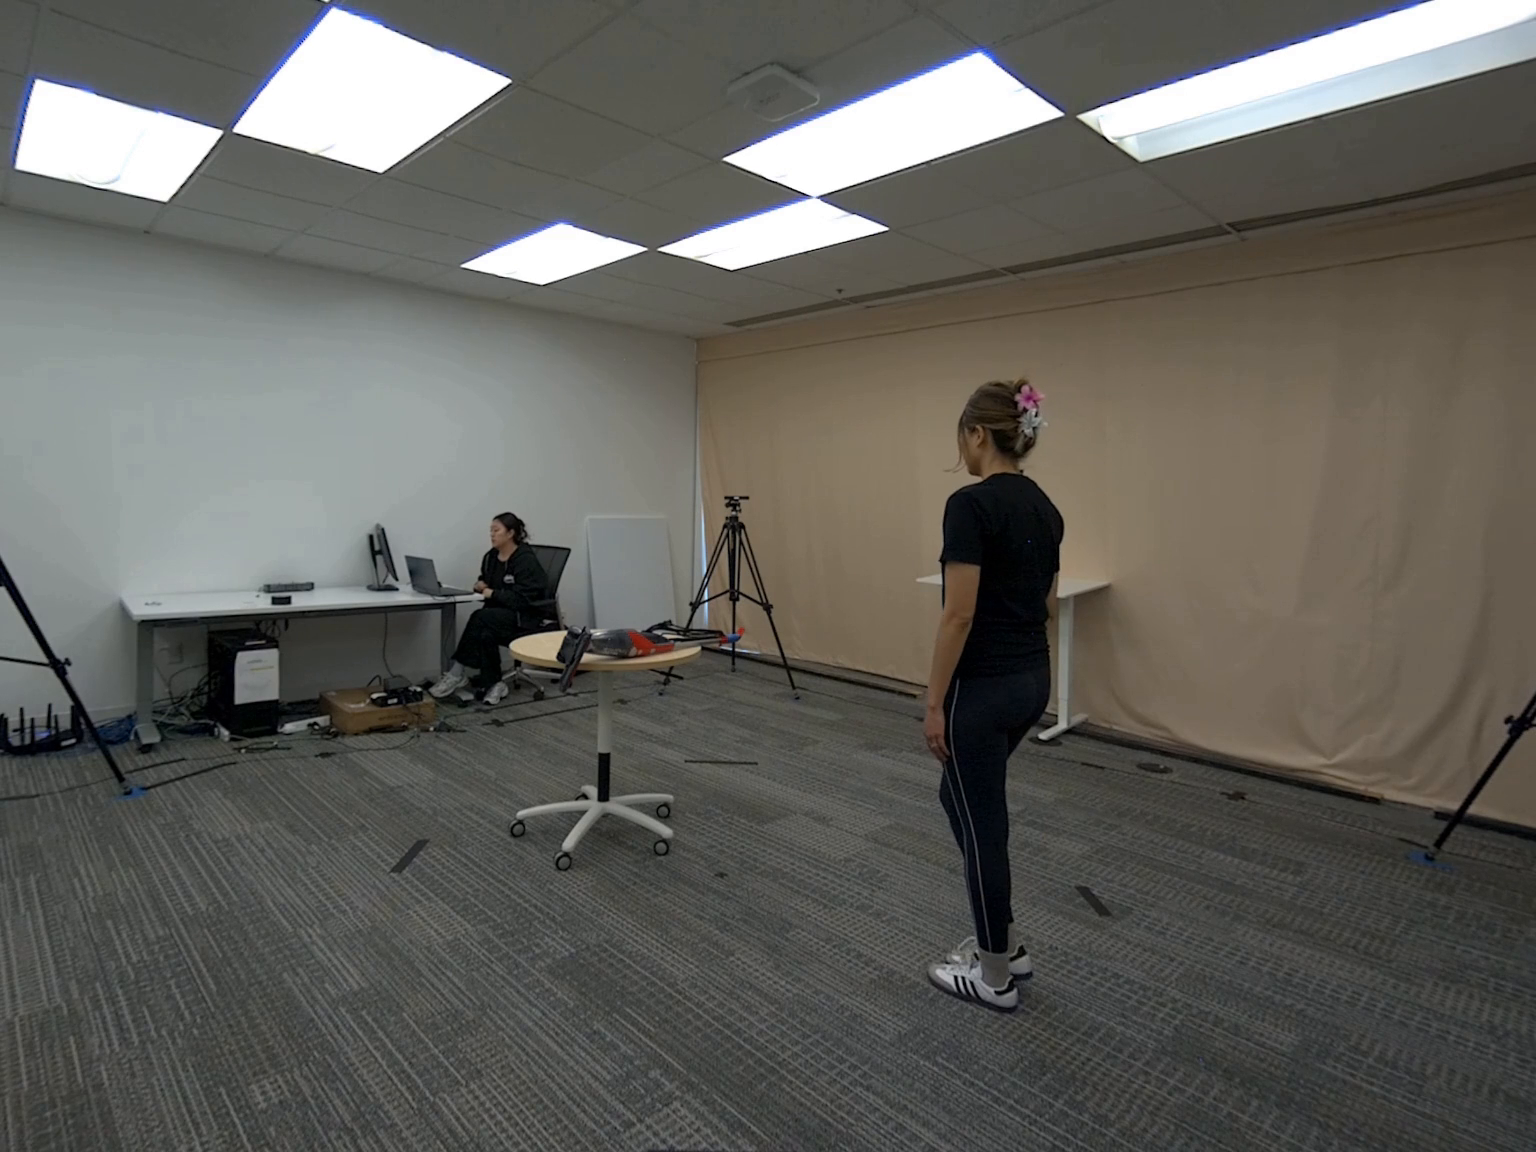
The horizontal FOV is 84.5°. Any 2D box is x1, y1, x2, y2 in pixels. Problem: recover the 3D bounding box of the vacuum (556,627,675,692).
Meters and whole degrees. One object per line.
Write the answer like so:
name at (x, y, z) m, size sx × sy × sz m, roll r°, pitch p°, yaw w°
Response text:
vacuum at (-0.408, 0.263, 3.343) m, size 0.148 × 0.251 × 1.027 m, roll 41°, pitch 23°, yaw 26°
